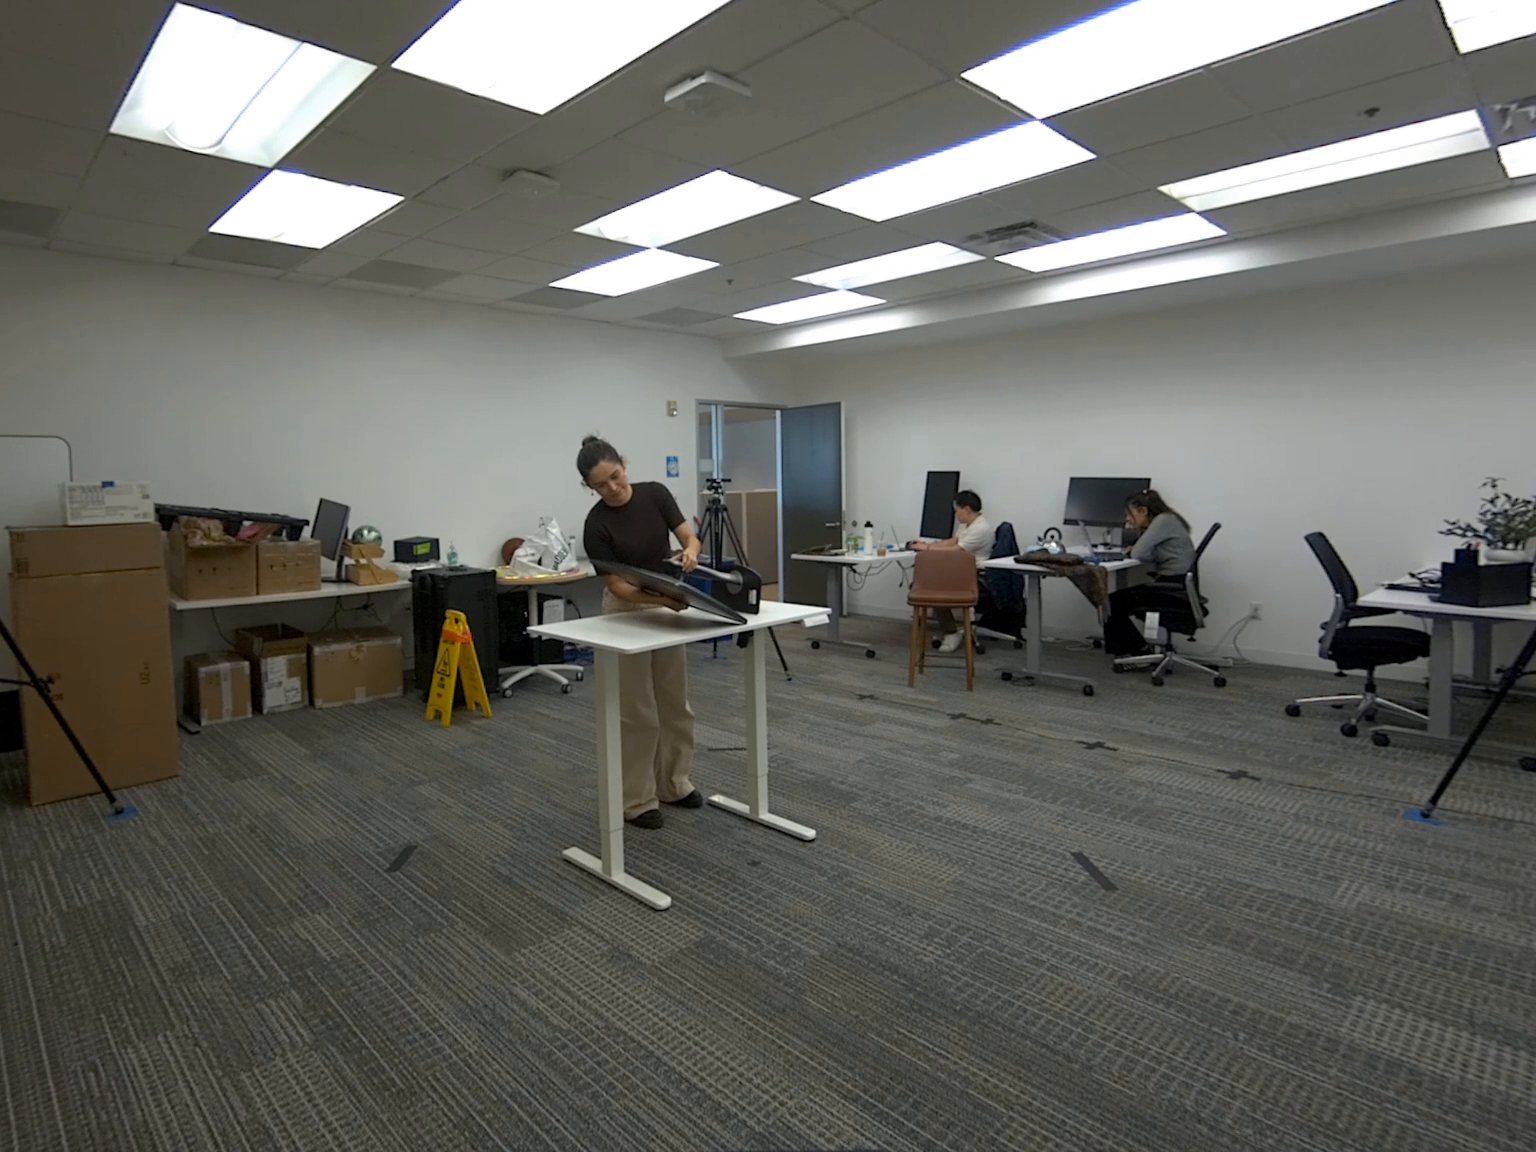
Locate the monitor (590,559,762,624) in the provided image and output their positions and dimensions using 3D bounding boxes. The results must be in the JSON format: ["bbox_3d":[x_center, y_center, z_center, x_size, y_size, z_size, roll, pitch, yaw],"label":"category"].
[{"bbox_3d":[-0.284,0.037,3.156,0.506,0.187,0.557,7,1,-44],"label":"monitor"}]
